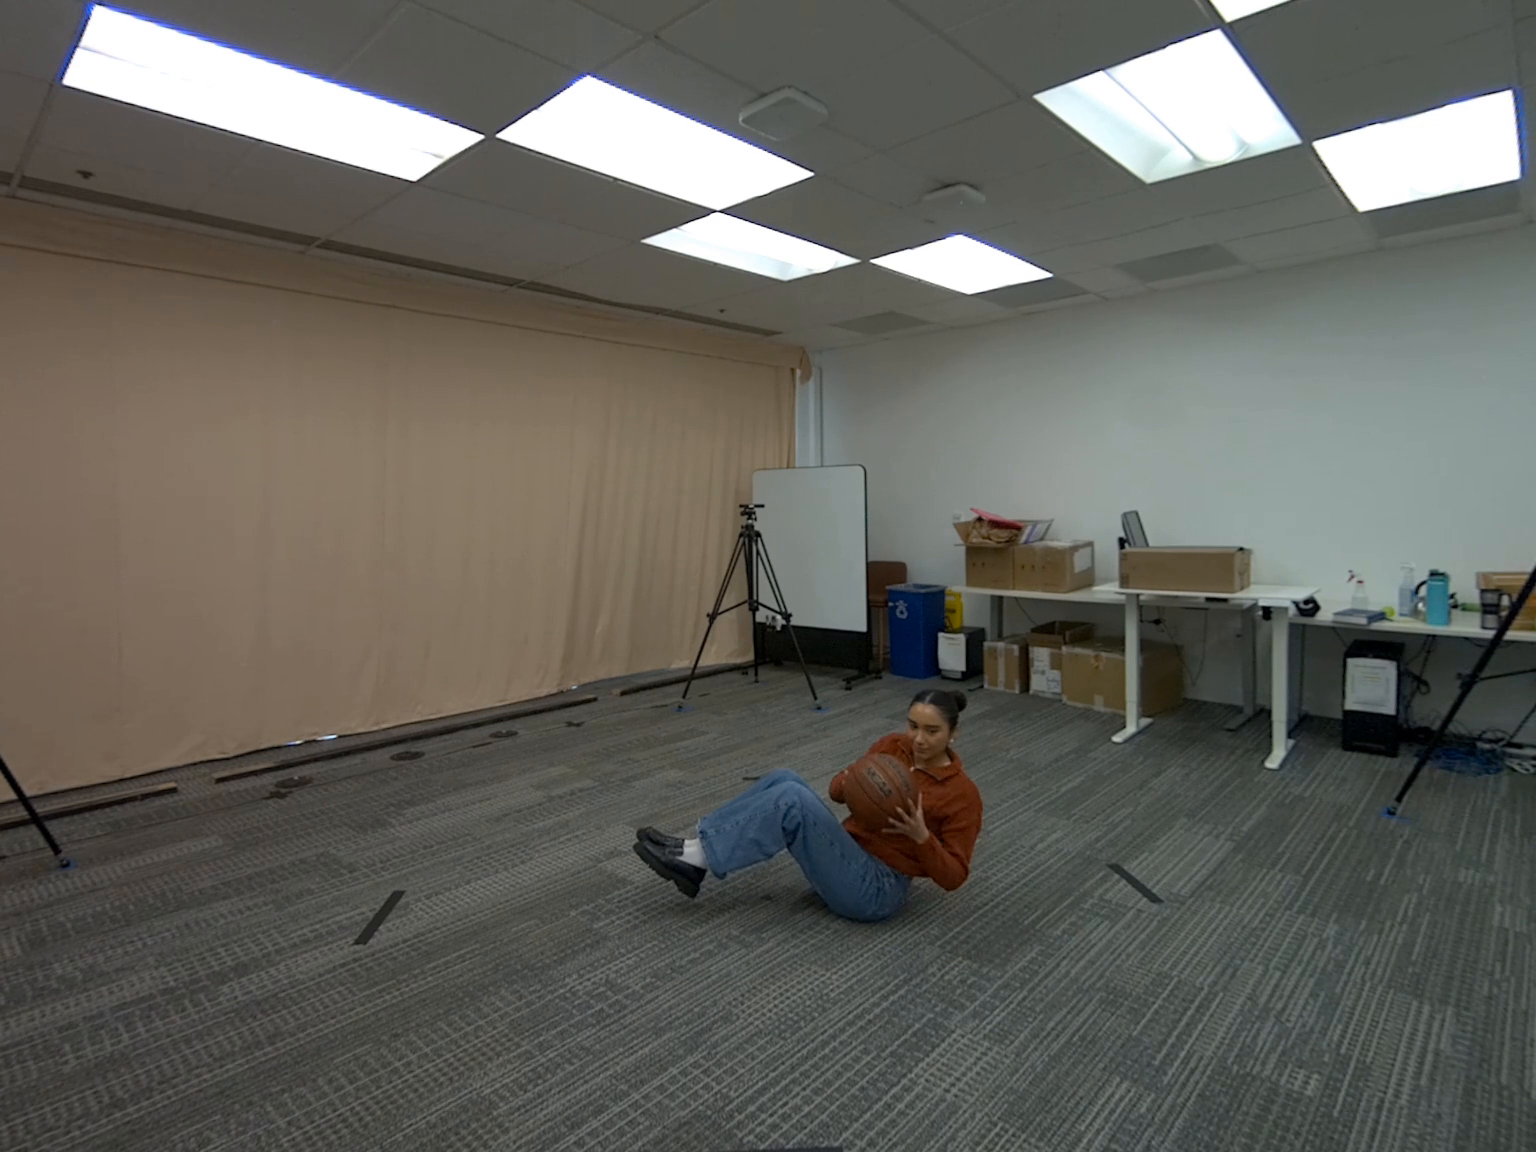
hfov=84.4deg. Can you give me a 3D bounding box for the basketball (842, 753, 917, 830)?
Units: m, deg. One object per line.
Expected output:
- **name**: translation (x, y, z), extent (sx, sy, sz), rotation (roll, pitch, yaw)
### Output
- **basketball**: translation (0.371, 0.705, 2.714), extent (0.236, 0.235, 0.237), rotation (-1, 4, -2)
